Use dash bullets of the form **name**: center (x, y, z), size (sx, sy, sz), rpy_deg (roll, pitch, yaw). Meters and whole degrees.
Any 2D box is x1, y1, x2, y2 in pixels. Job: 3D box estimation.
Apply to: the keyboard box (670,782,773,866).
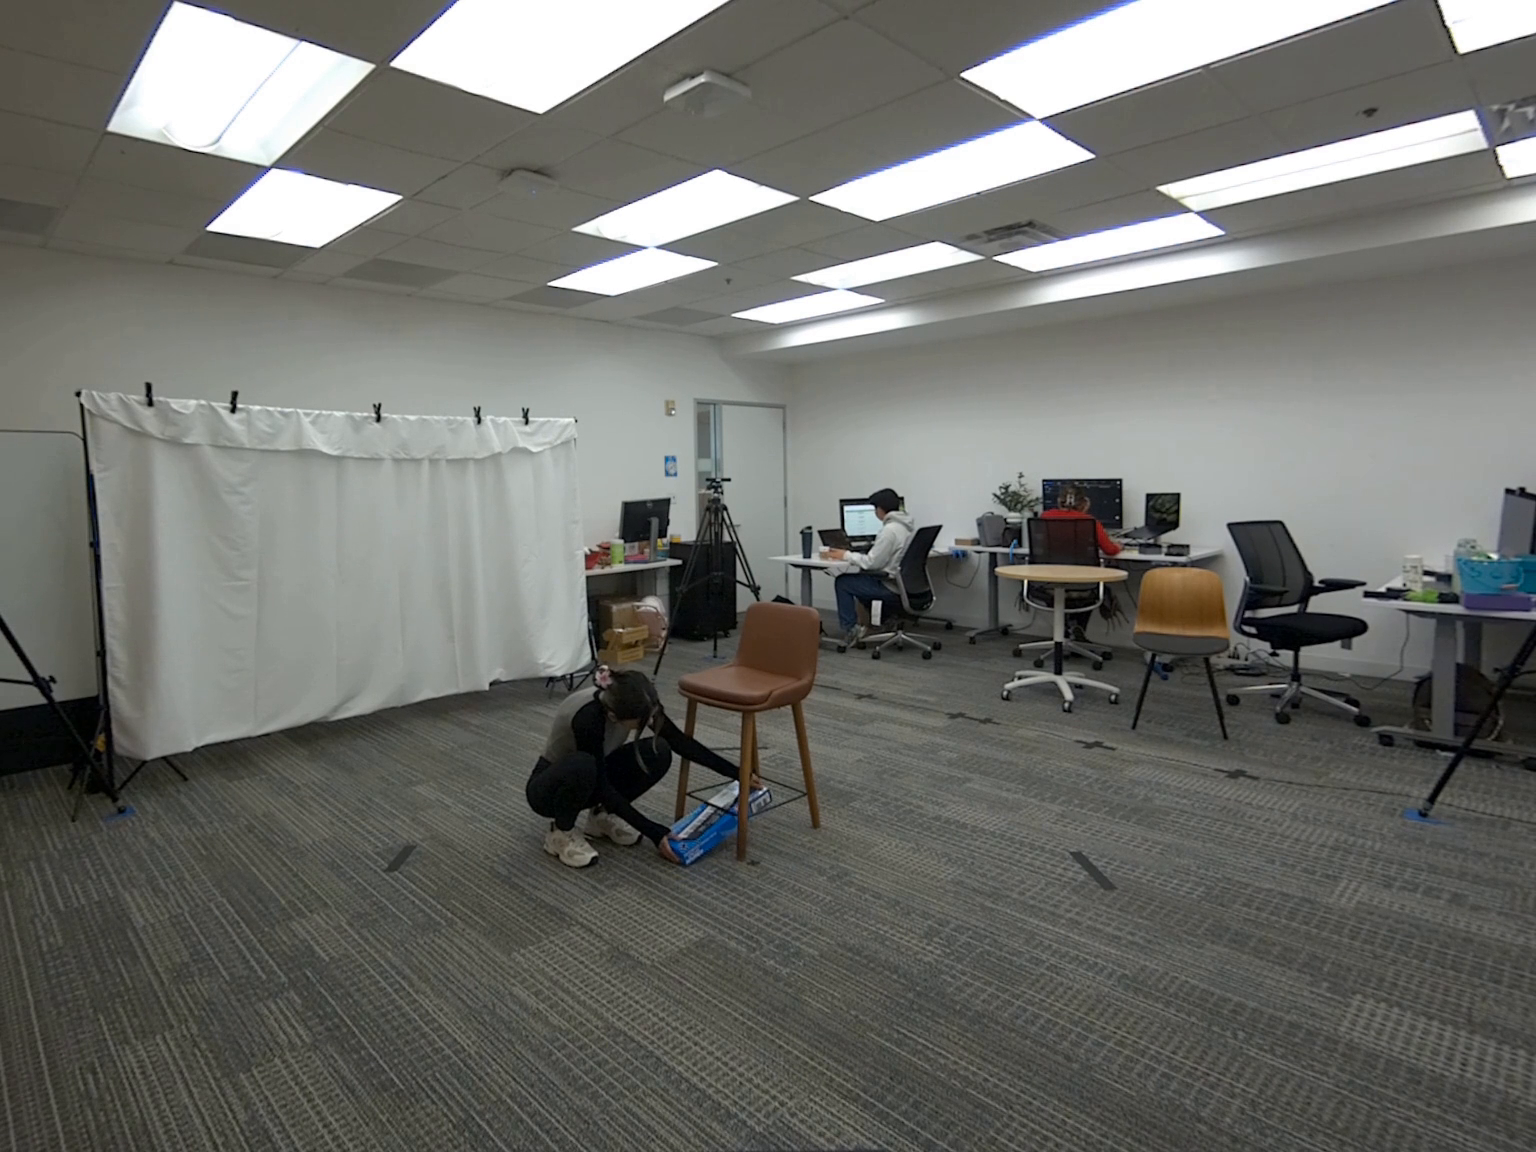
- **keyboard box**: center (-0.204, 0.923, 3.256), size (0.431, 0.058, 0.182), rpy_deg (-26, 23, -34)
